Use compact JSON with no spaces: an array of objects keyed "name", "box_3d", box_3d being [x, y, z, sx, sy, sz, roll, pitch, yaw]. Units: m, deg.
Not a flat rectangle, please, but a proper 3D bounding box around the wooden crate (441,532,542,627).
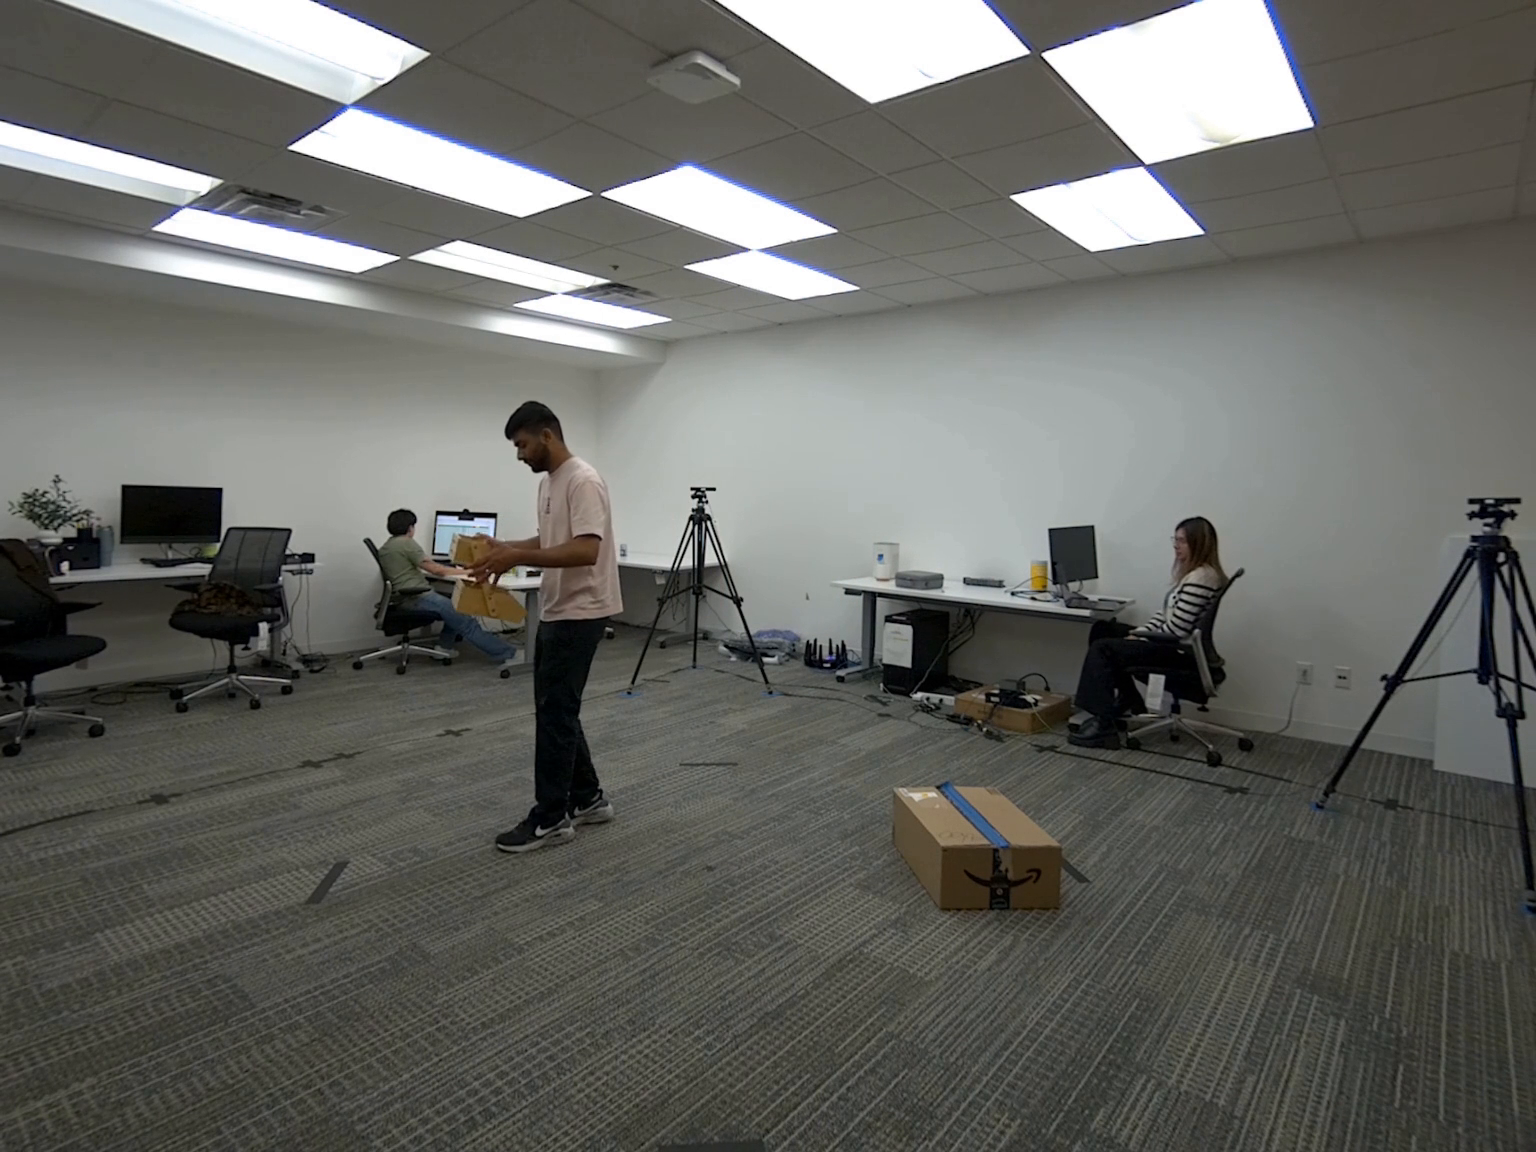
[{"name":"wooden crate","box_3d":[-1.056,0.006,3.217,0.294,0.273,0.333,13,-1,-23]}]
